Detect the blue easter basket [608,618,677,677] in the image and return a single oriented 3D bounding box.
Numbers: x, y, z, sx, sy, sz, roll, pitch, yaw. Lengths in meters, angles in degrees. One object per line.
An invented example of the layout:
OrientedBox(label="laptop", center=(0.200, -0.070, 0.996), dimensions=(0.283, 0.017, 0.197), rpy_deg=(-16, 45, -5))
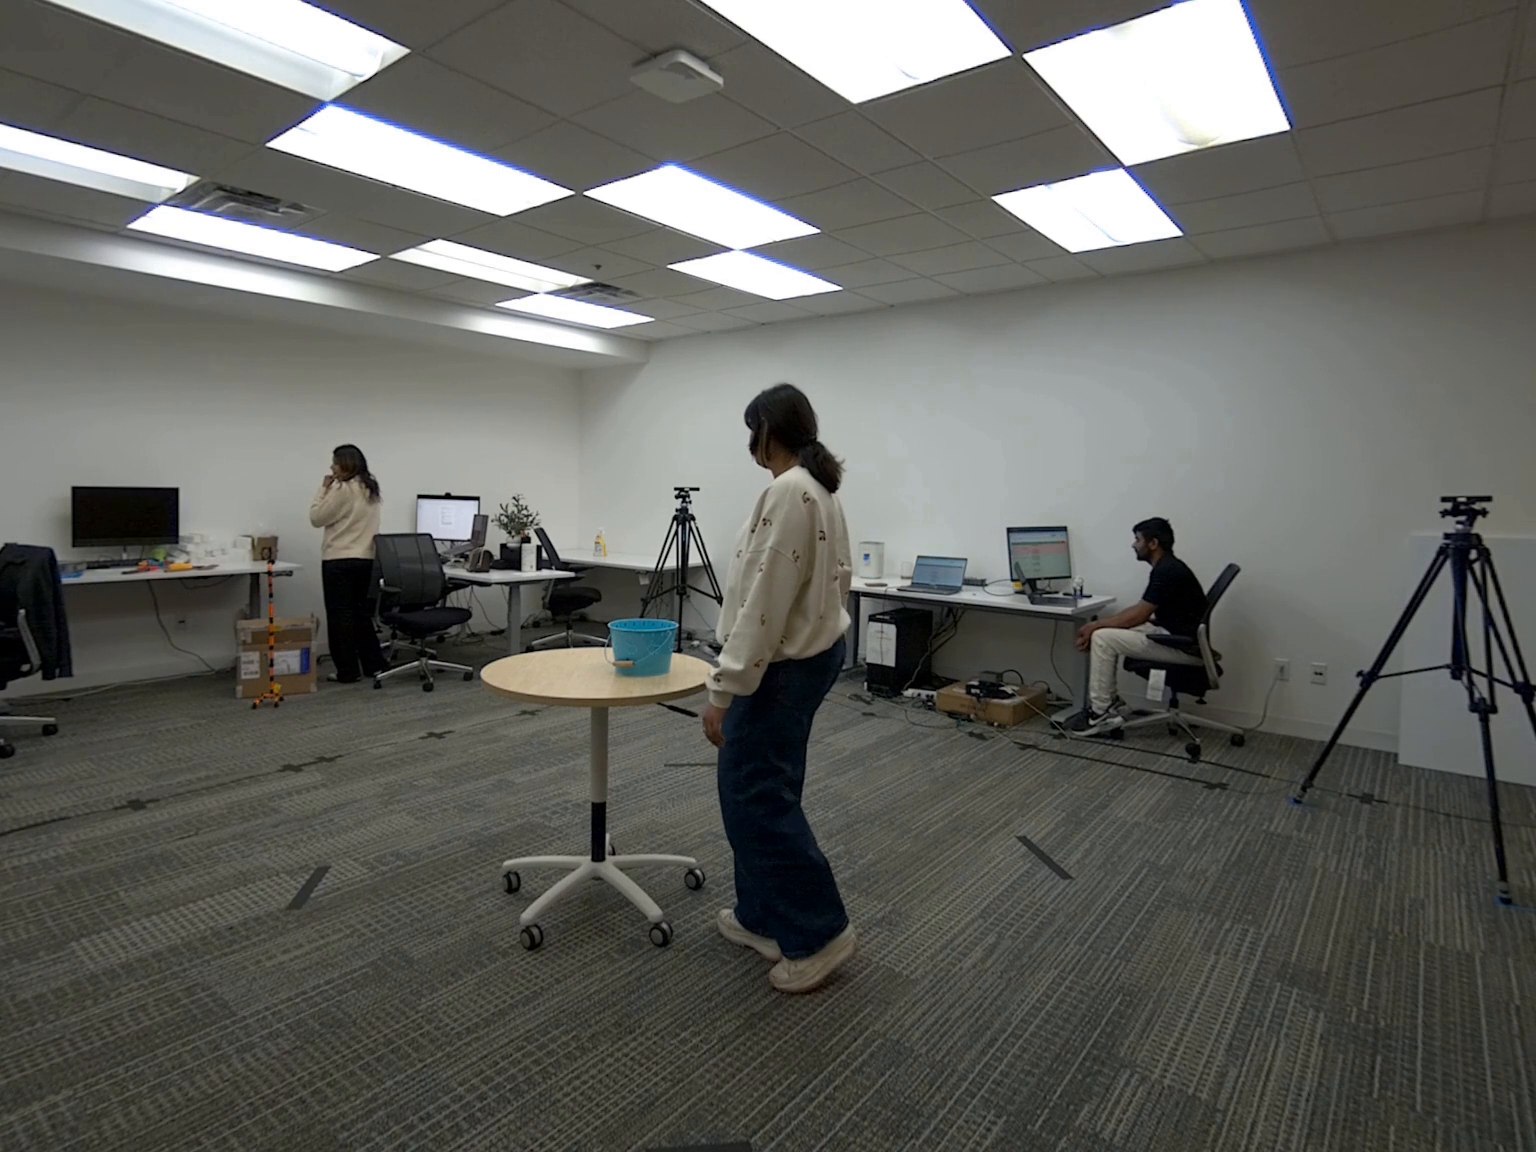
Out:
OrientedBox(label="blue easter basket", center=(-0.435, 0.238, 2.807), dimensions=(0.243, 0.155, 0.245), rpy_deg=(1, 5, -2))
